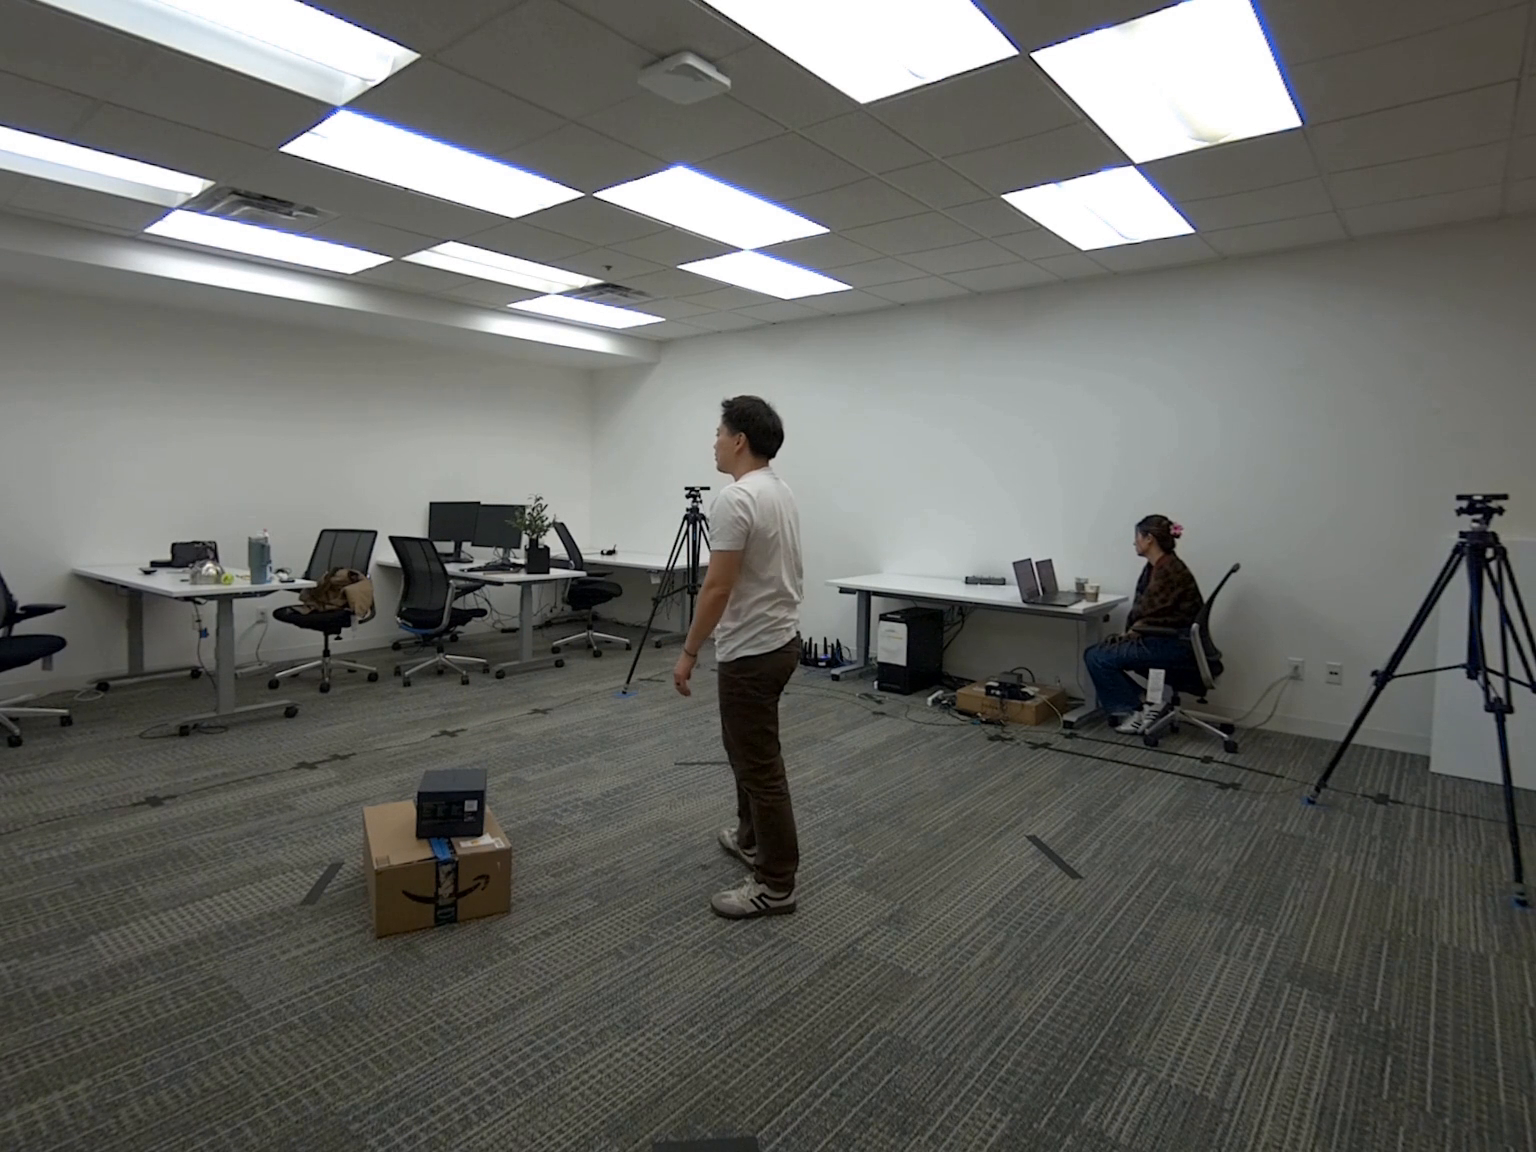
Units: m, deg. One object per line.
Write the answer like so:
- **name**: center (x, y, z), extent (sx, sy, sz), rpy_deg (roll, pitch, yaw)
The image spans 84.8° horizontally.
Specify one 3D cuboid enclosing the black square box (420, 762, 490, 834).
- **black square box**: center (-1.085, 0.765, 2.927), extent (0.213, 0.155, 0.232), rpy_deg (0, 4, -16)
